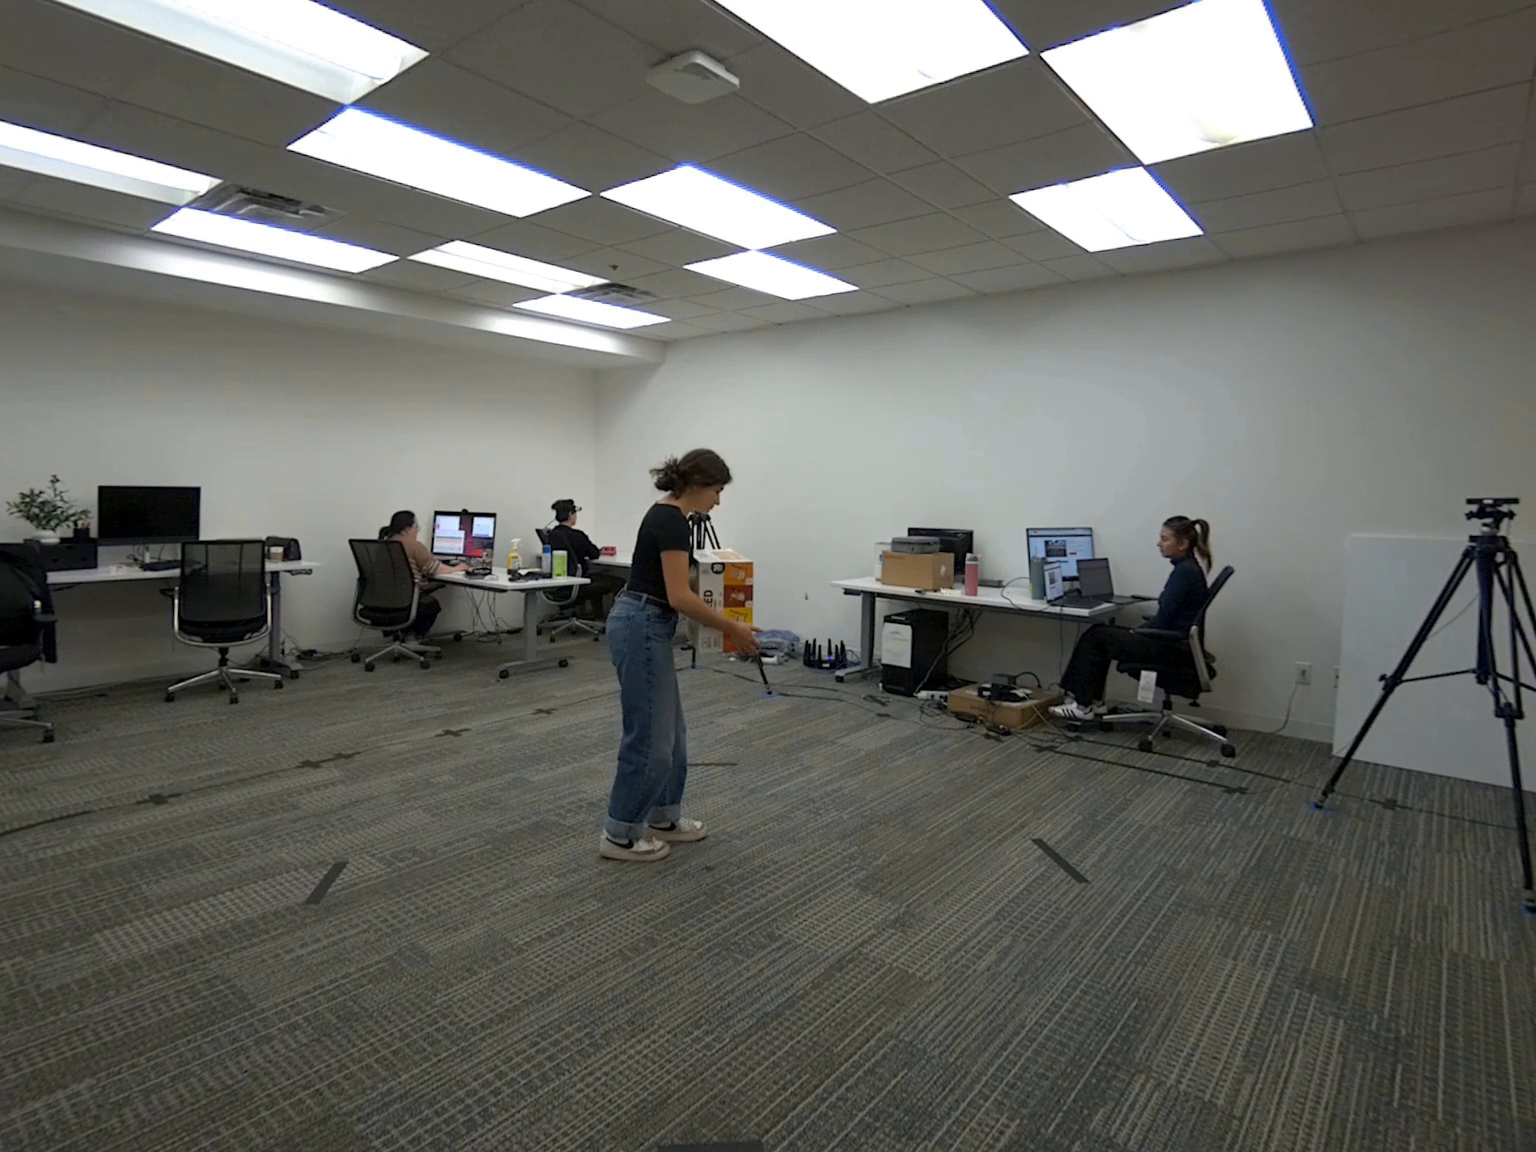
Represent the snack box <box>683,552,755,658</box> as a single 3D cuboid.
[{"bbox_3d":[-0.202,0.098,3.292,0.203,0.338,0.412,-1,6,-13],"label":"snack box"}]
